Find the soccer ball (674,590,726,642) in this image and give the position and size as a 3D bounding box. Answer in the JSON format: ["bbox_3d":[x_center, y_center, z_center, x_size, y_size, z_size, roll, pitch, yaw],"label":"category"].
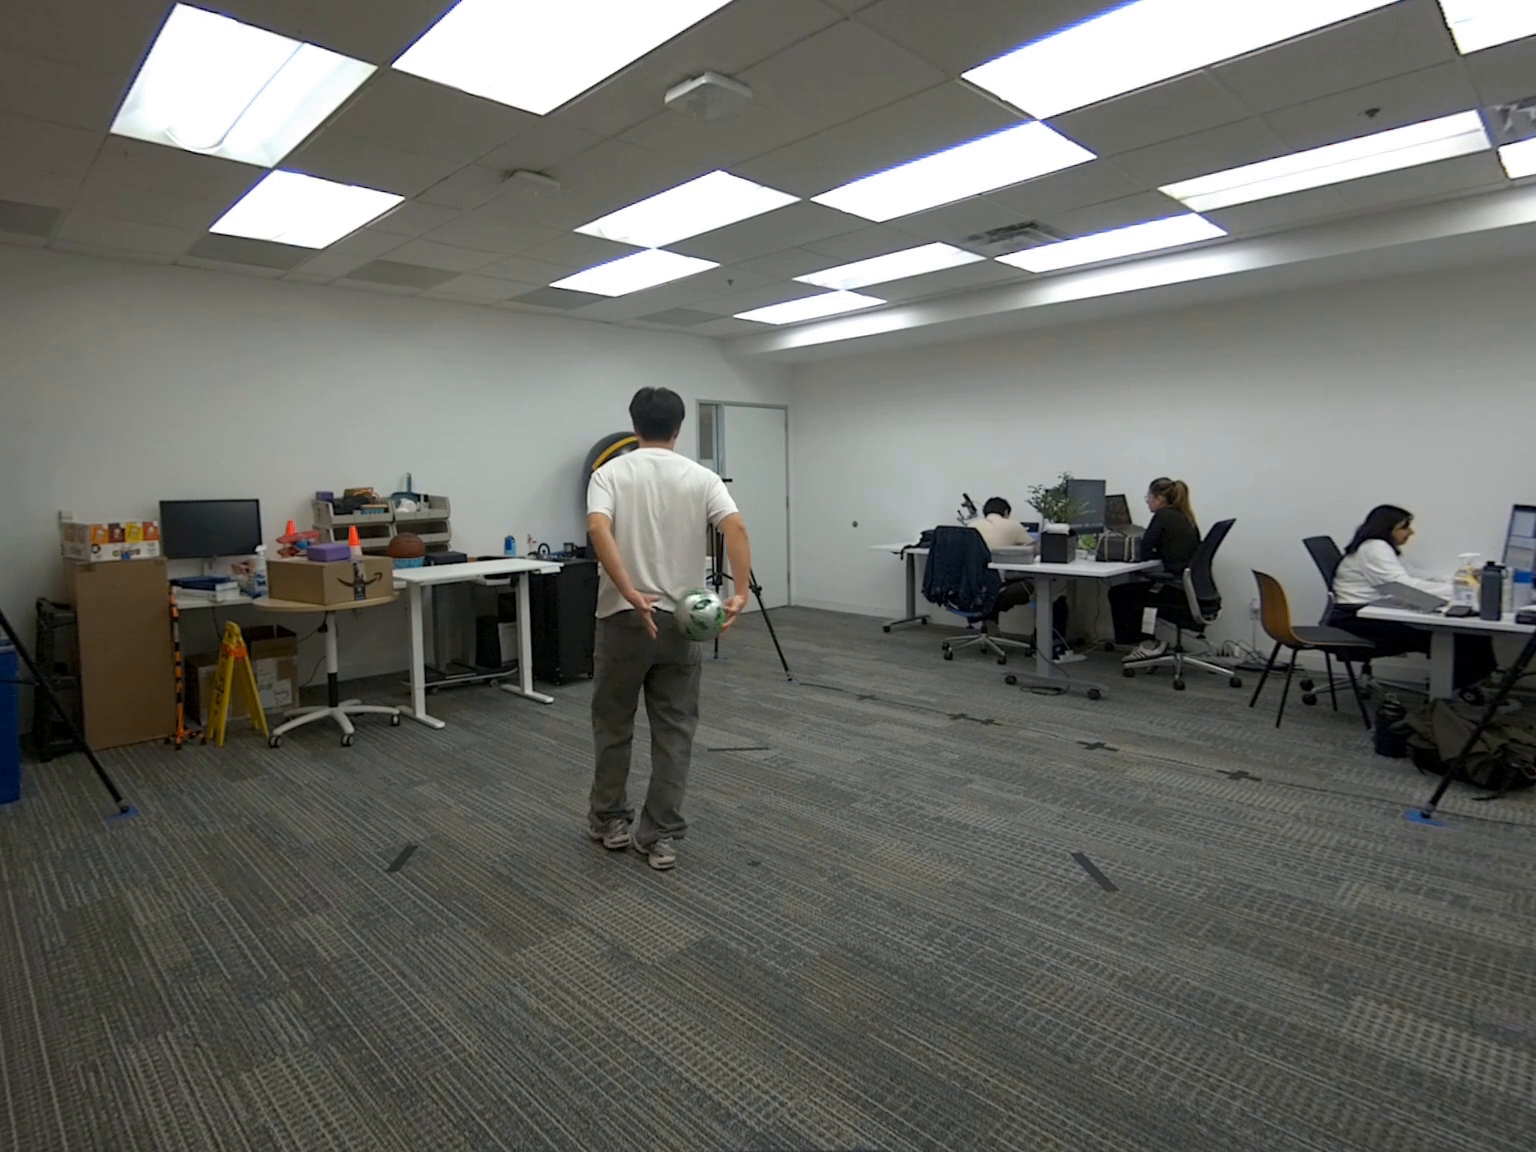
[{"bbox_3d":[-0.223,0.139,2.963,0.187,0.187,0.188,-1,5,-2],"label":"soccer ball"}]
